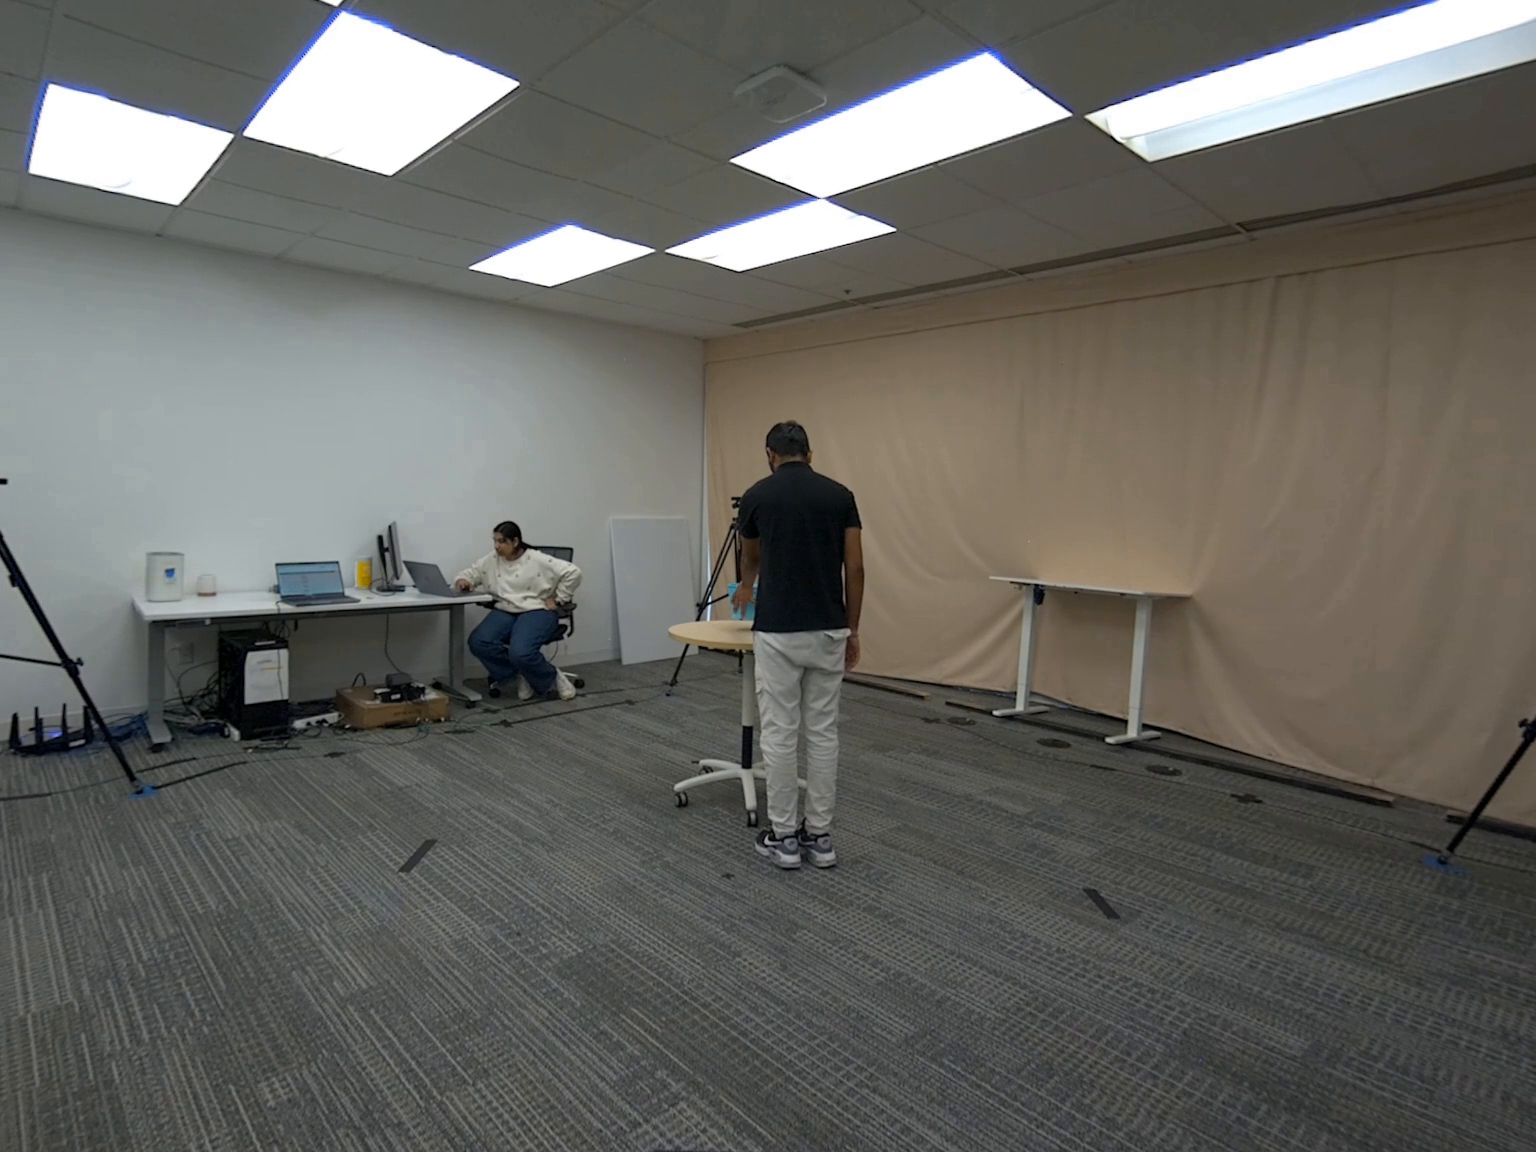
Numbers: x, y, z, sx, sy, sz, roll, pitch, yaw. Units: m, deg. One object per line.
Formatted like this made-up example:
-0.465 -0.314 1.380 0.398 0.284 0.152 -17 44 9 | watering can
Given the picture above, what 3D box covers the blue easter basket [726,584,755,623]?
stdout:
-0.073 0.123 3.941 0.243 0.155 0.244 0 3 -1 | blue easter basket
